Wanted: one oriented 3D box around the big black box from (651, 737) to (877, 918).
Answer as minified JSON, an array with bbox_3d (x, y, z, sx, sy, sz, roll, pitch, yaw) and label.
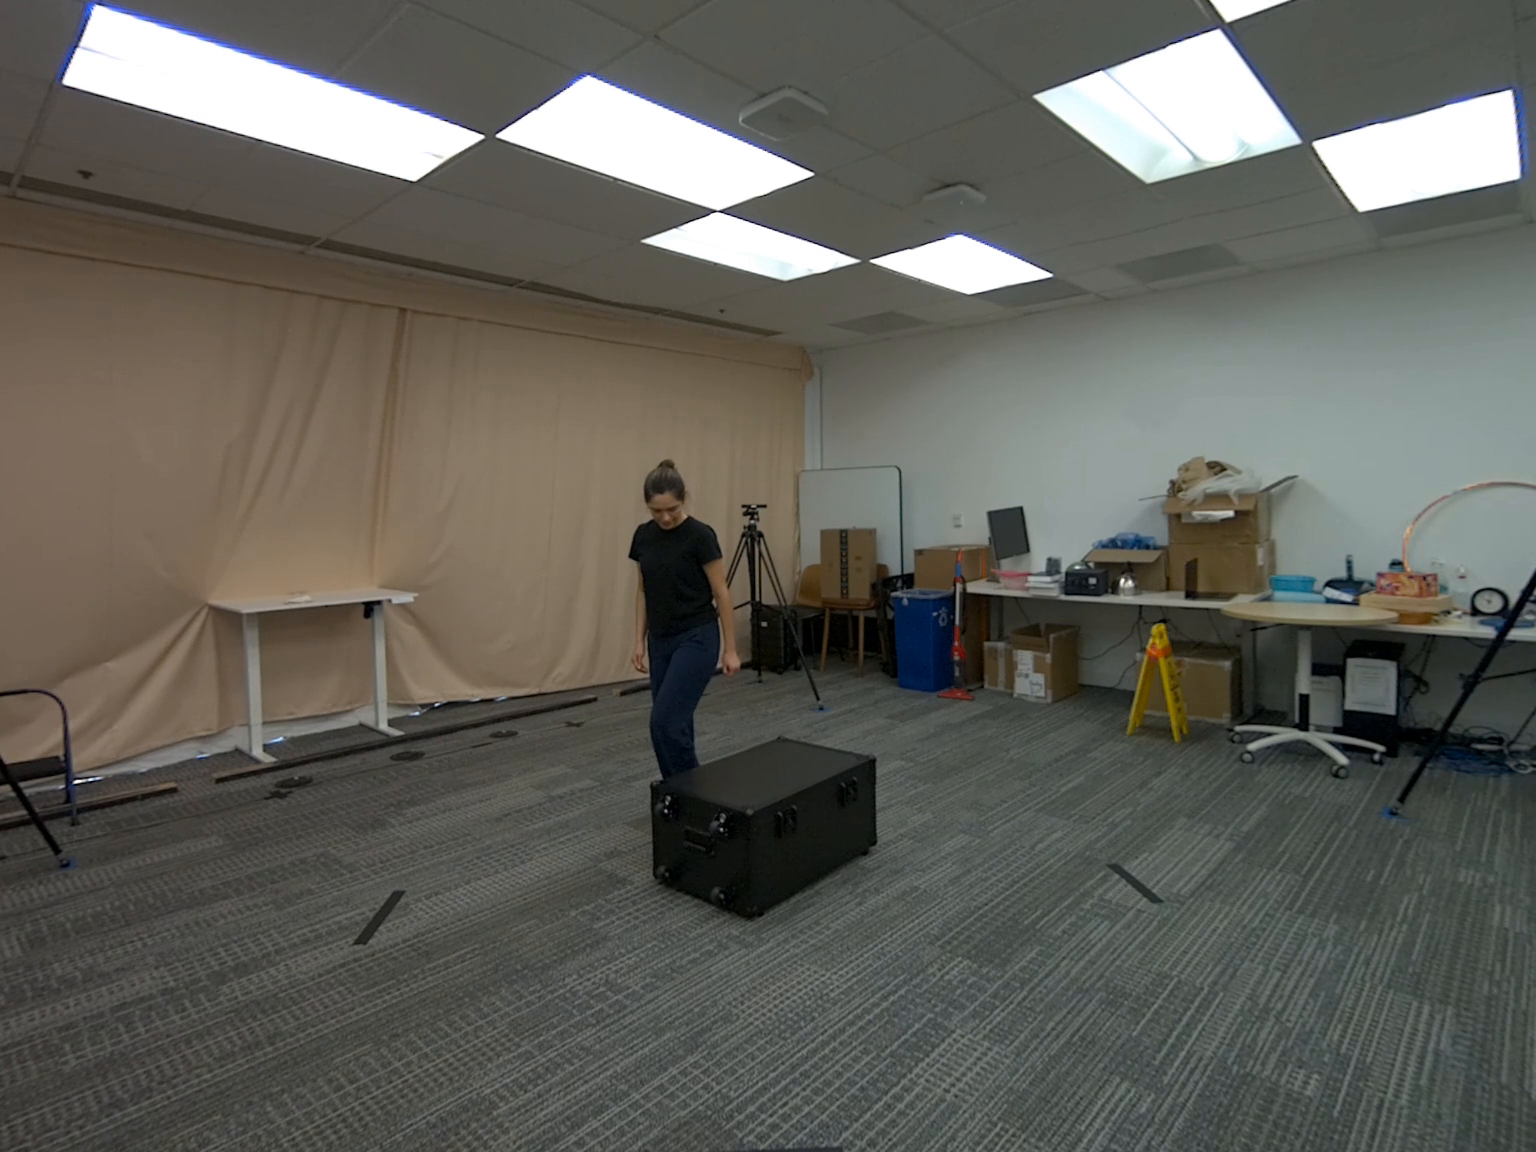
[{"bbox_3d":[-0.003,0.930,3.210,0.538,0.395,0.835,2,5,40],"label":"big black box"}]
